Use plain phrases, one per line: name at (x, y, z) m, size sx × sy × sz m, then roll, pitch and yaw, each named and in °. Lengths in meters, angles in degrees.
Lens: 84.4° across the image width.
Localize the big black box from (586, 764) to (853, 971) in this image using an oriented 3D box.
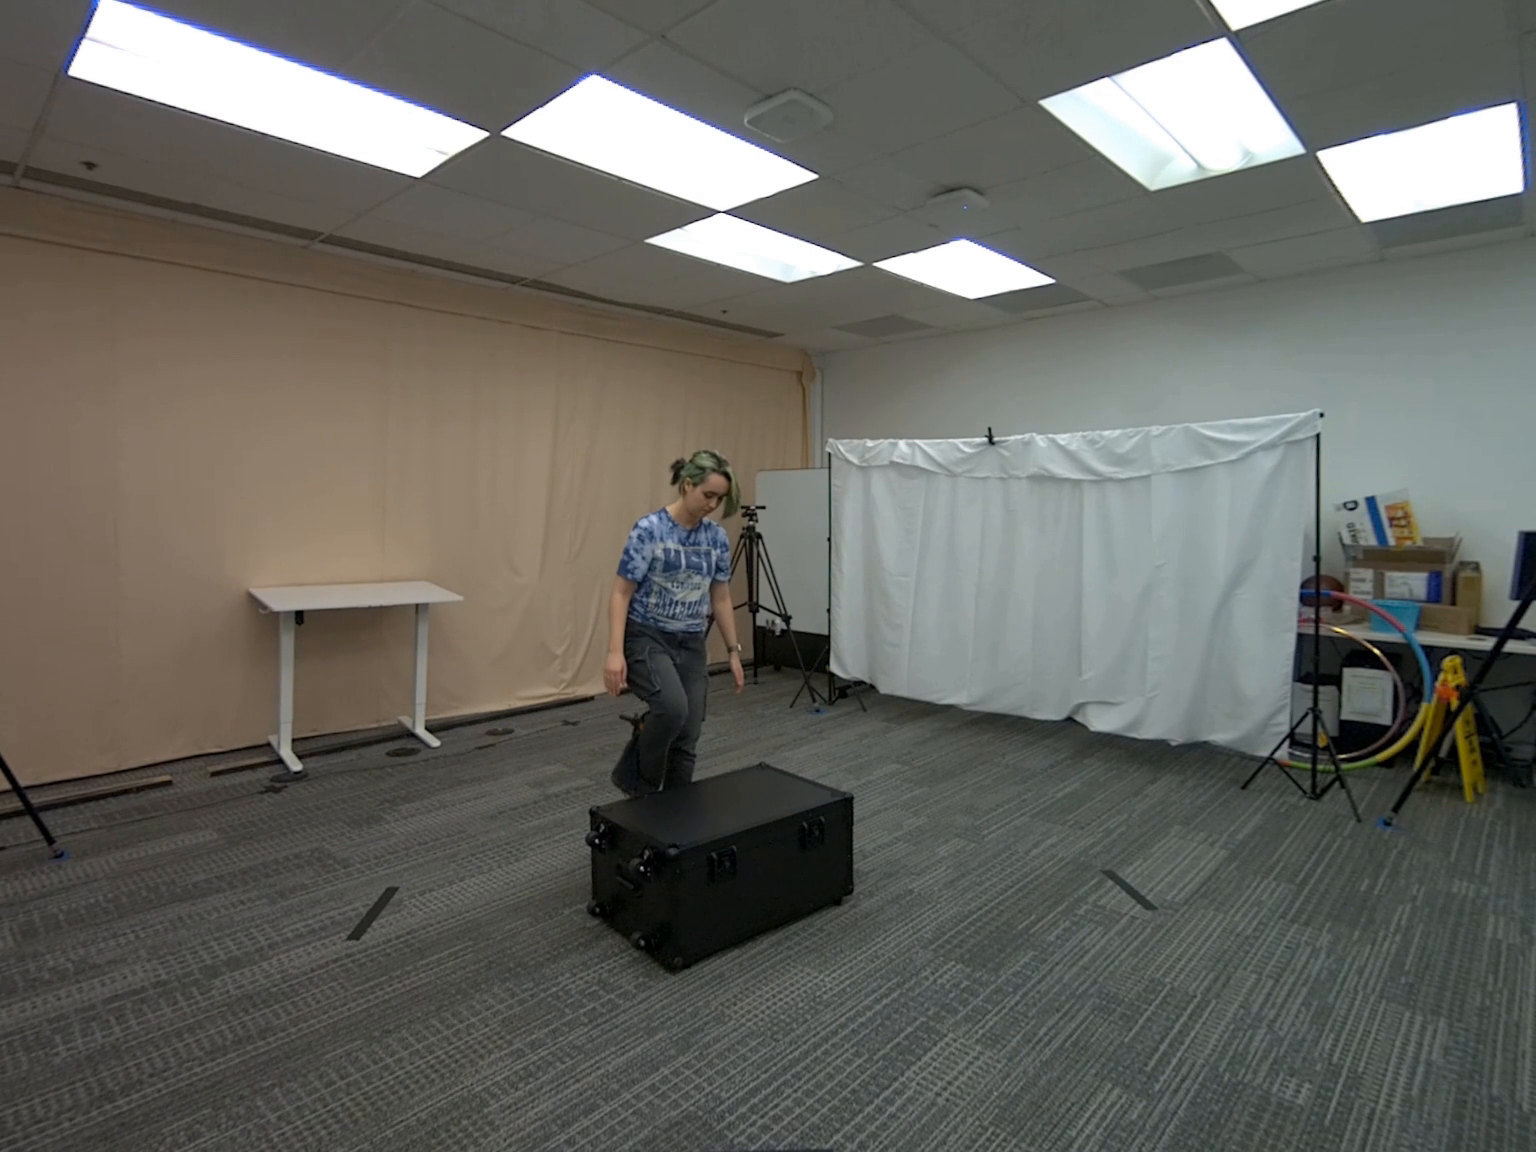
big black box at (-0.170, 0.964, 2.882) m, size 0.835 × 0.395 × 0.538 m, roll -3°, pitch 5°, yaw -40°
